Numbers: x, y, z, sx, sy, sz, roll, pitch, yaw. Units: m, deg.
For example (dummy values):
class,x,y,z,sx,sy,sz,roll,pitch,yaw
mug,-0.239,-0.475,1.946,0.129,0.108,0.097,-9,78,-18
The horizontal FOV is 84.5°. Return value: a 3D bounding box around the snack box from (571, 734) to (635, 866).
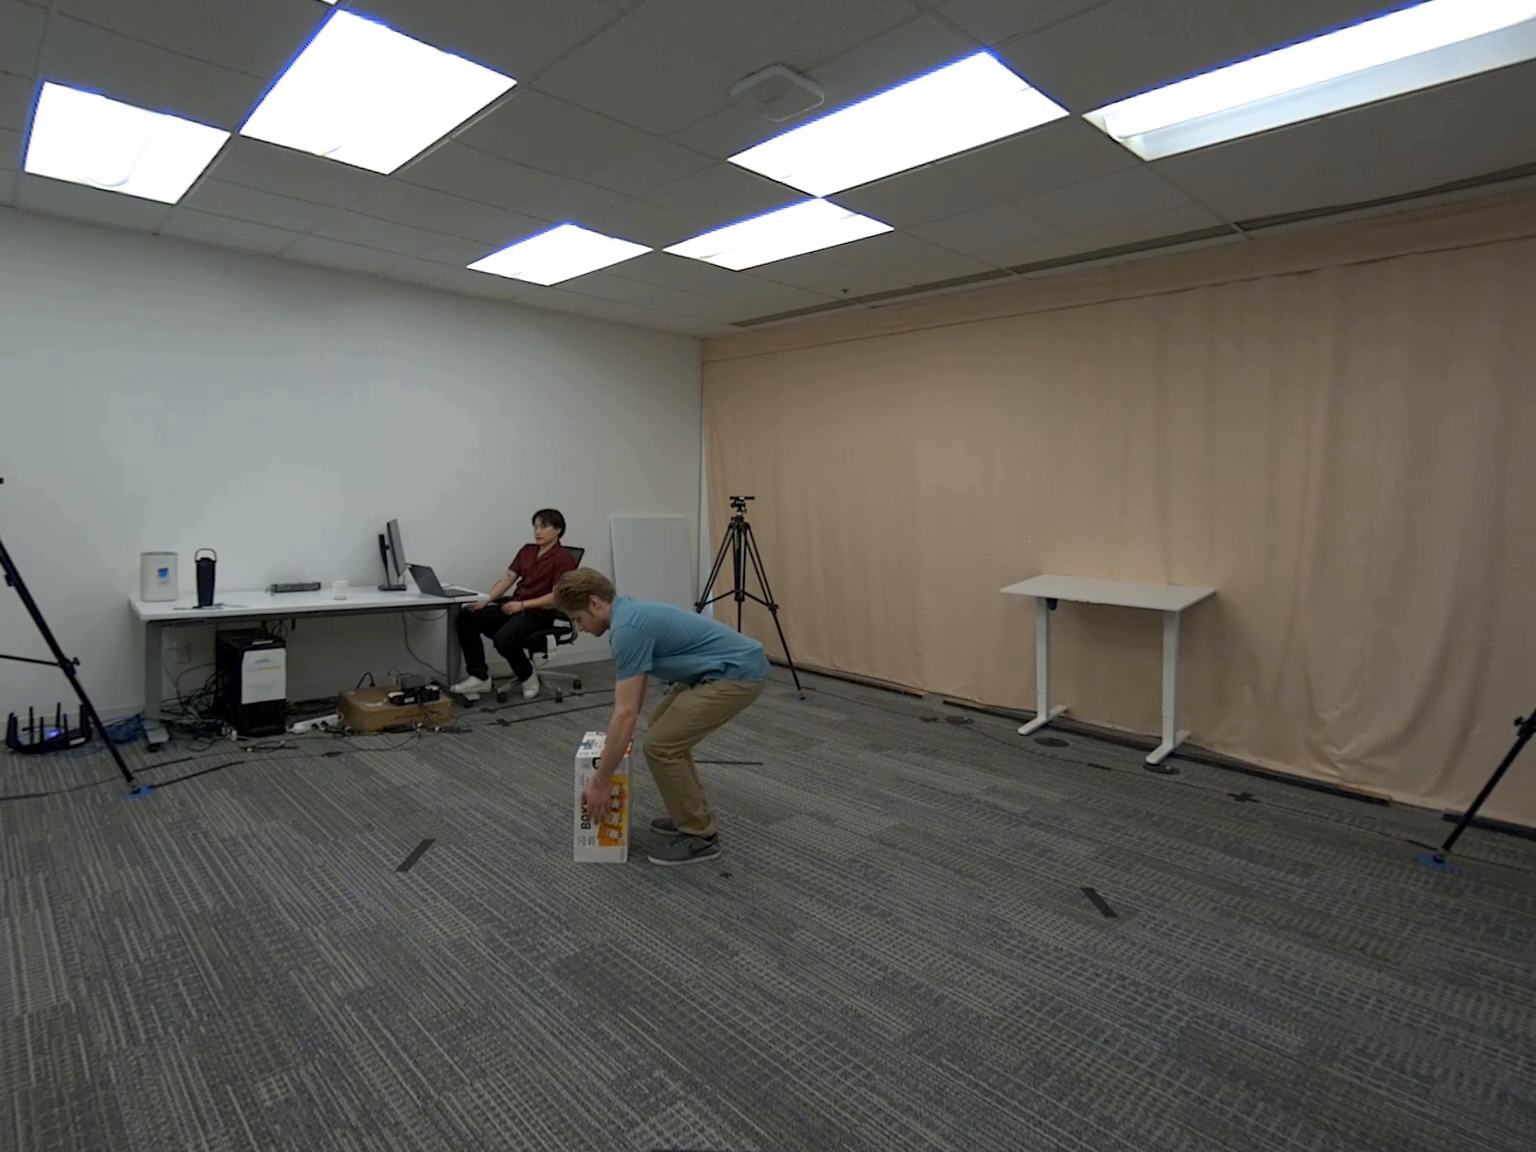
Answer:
class,x,y,z,sx,sy,sz,roll,pitch,yaw
snack box,-0.648,0.870,3.342,0.205,0.404,0.342,1,3,-4
